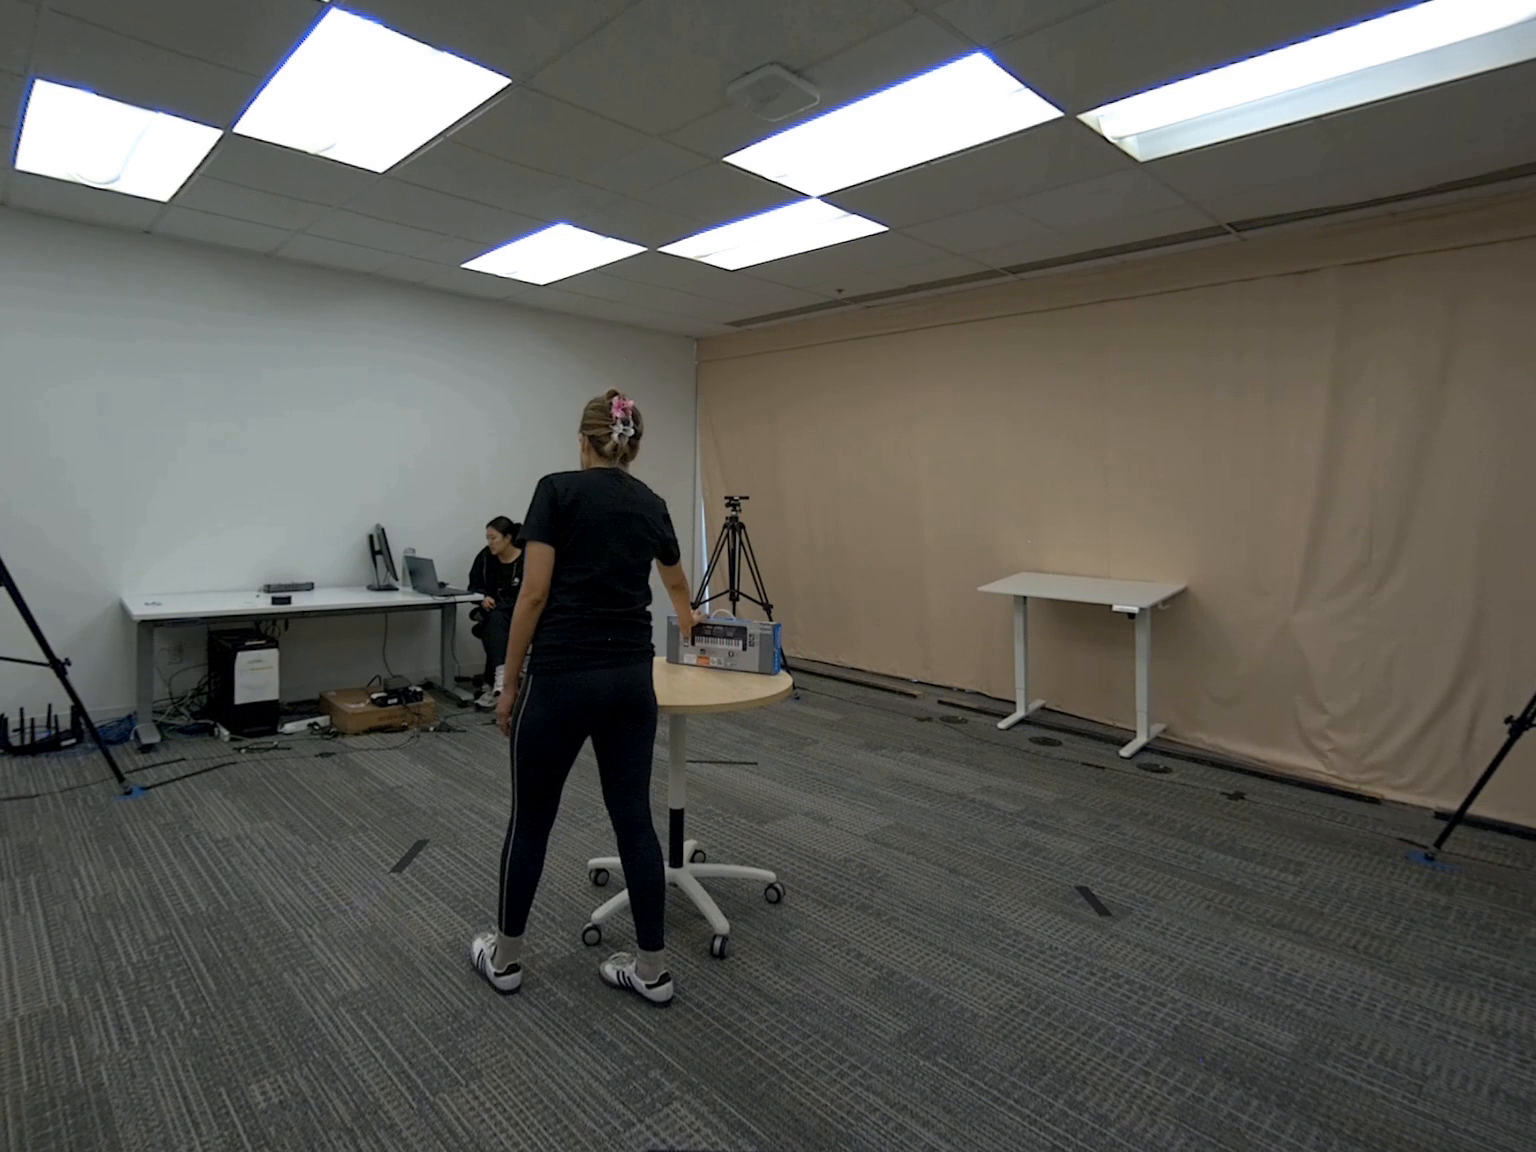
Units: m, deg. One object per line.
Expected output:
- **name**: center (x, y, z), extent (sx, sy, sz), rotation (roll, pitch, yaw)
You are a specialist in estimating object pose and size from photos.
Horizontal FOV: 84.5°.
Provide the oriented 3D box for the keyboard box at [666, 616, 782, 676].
- **keyboard box**: center (-0.166, 0.242, 2.987), extent (0.446, 0.176, 0.058), rotation (3, 2, 28)
